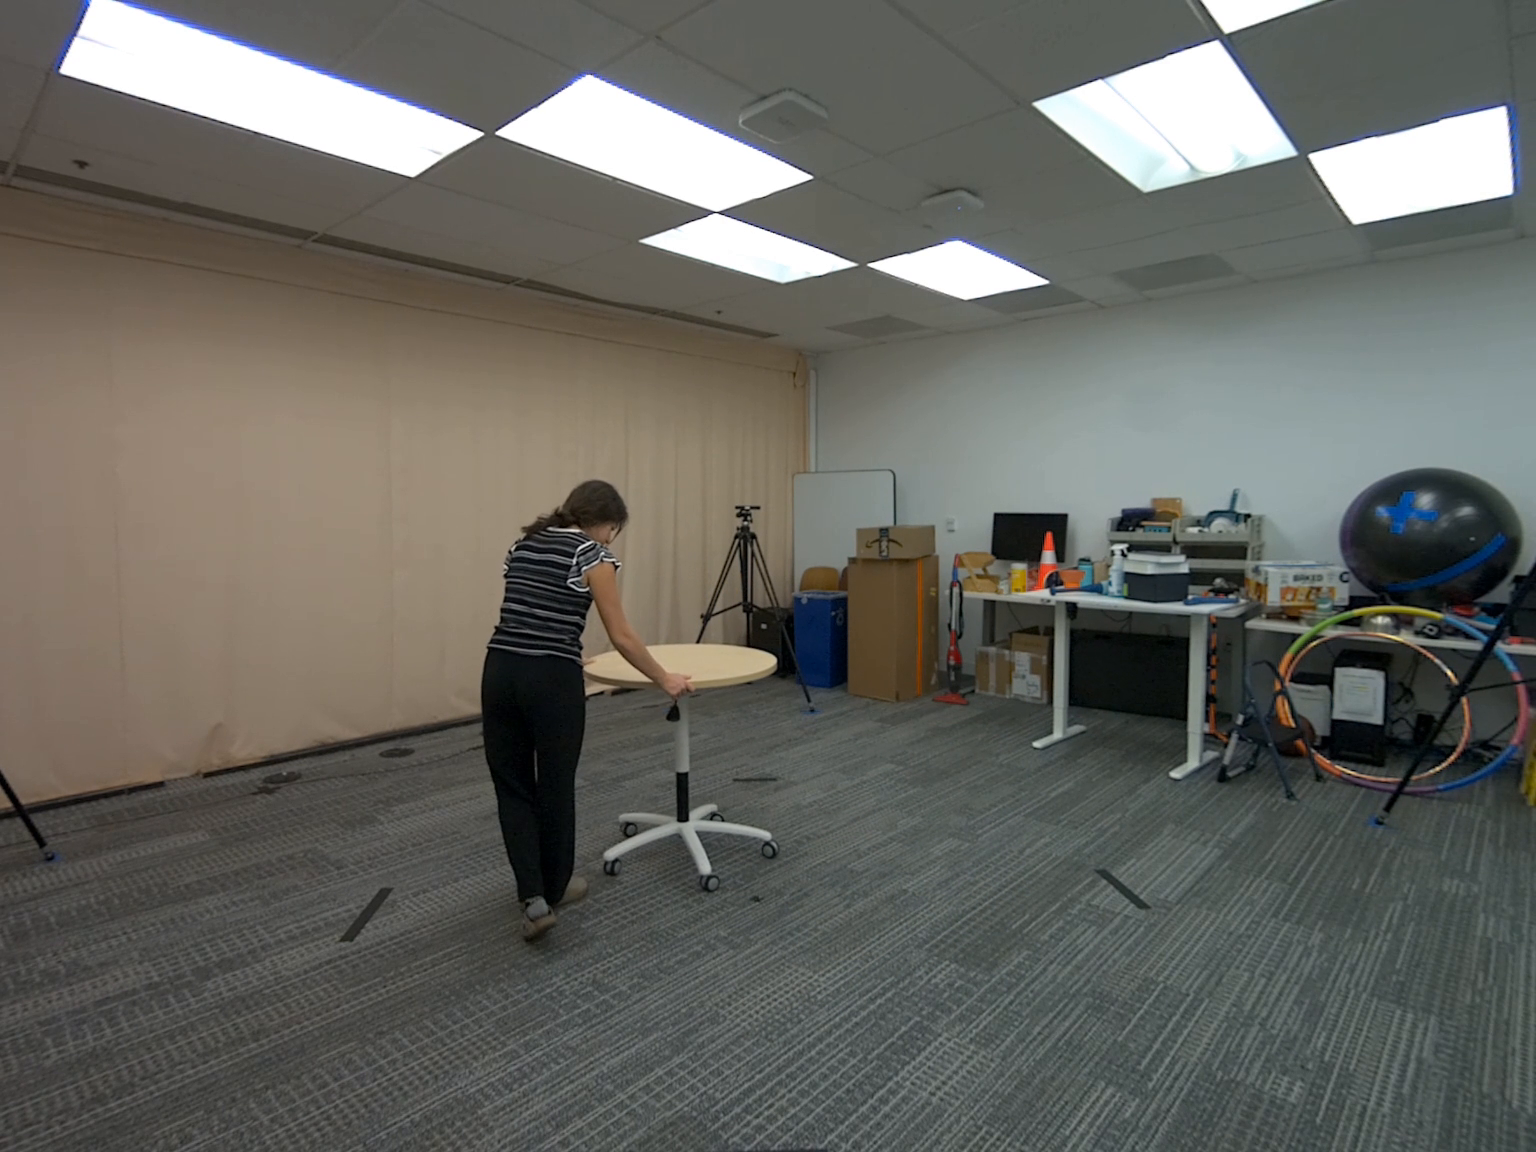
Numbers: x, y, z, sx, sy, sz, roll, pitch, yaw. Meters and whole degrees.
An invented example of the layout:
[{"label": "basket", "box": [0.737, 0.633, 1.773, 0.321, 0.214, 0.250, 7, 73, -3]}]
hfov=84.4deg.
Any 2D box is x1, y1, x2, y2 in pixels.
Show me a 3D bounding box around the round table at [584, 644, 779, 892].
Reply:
[{"label": "round table", "box": [-0.331, 0.727, 3.344, 0.763, 0.792, 0.767, -1, 4, -2]}]
